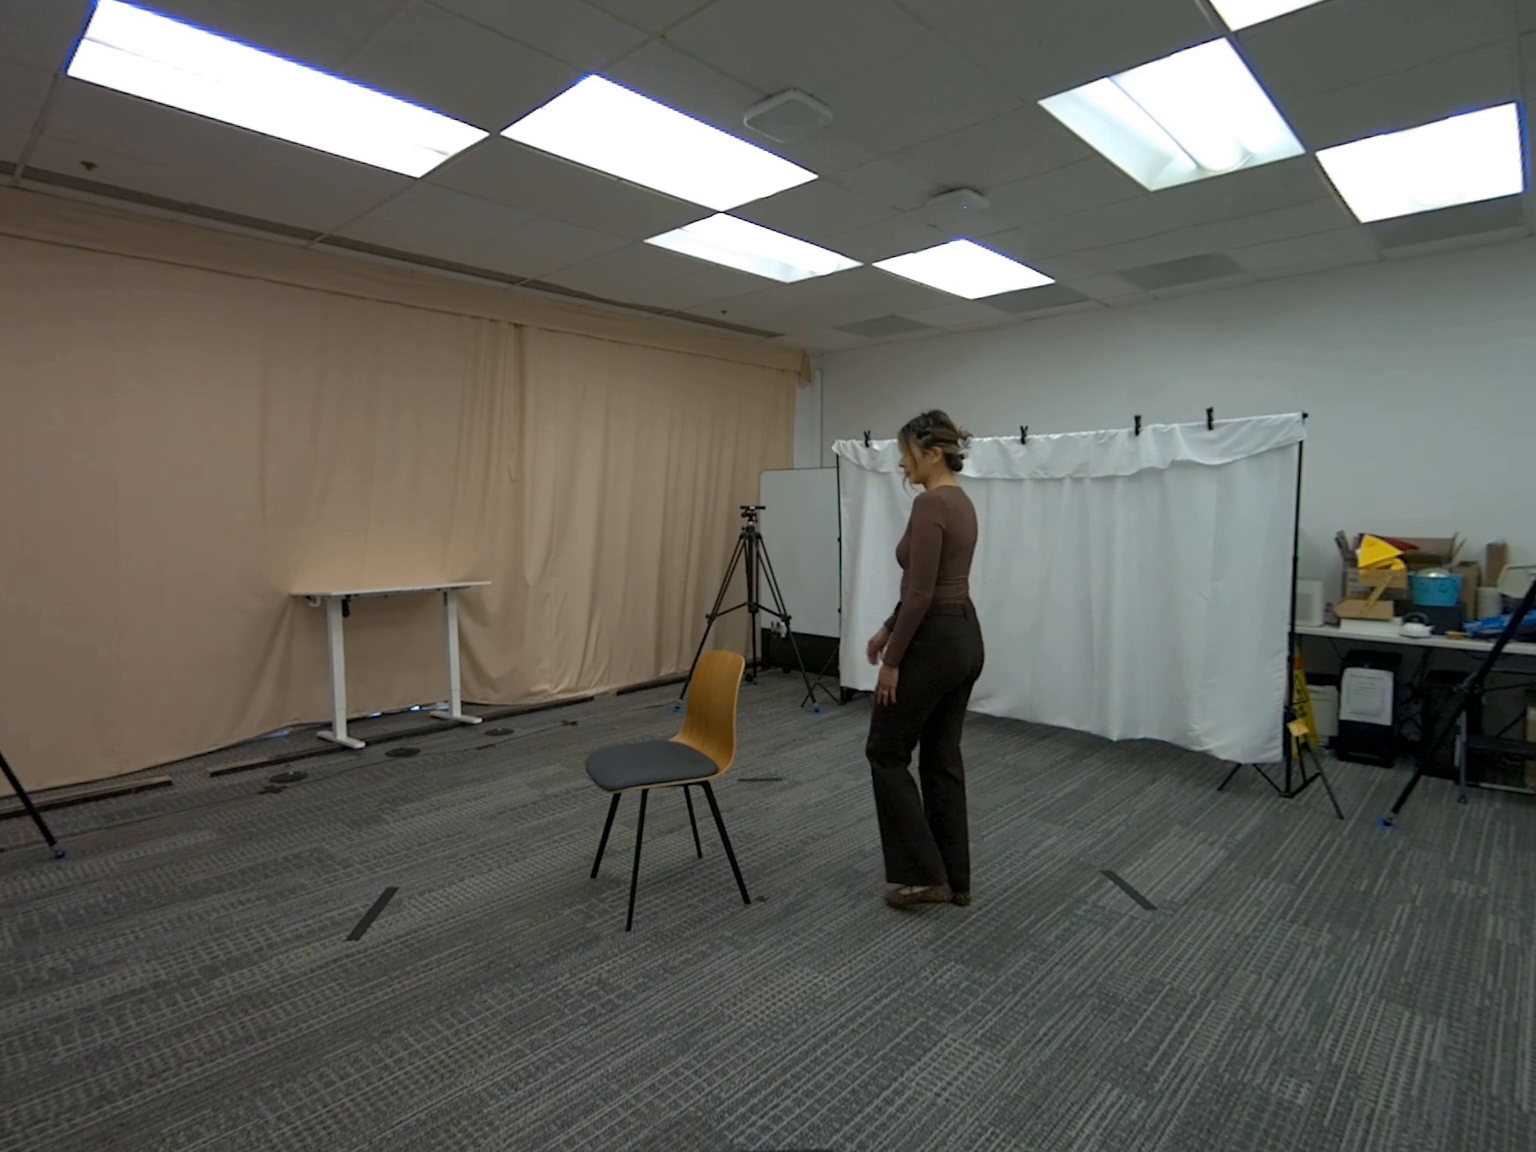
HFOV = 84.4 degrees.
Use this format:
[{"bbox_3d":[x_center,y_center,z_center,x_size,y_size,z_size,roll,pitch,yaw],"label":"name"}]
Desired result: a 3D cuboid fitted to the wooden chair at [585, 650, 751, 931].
[{"bbox_3d":[-0.371,0.719,3.026,0.510,0.876,0.491,2,2,-27],"label":"wooden chair"}]
